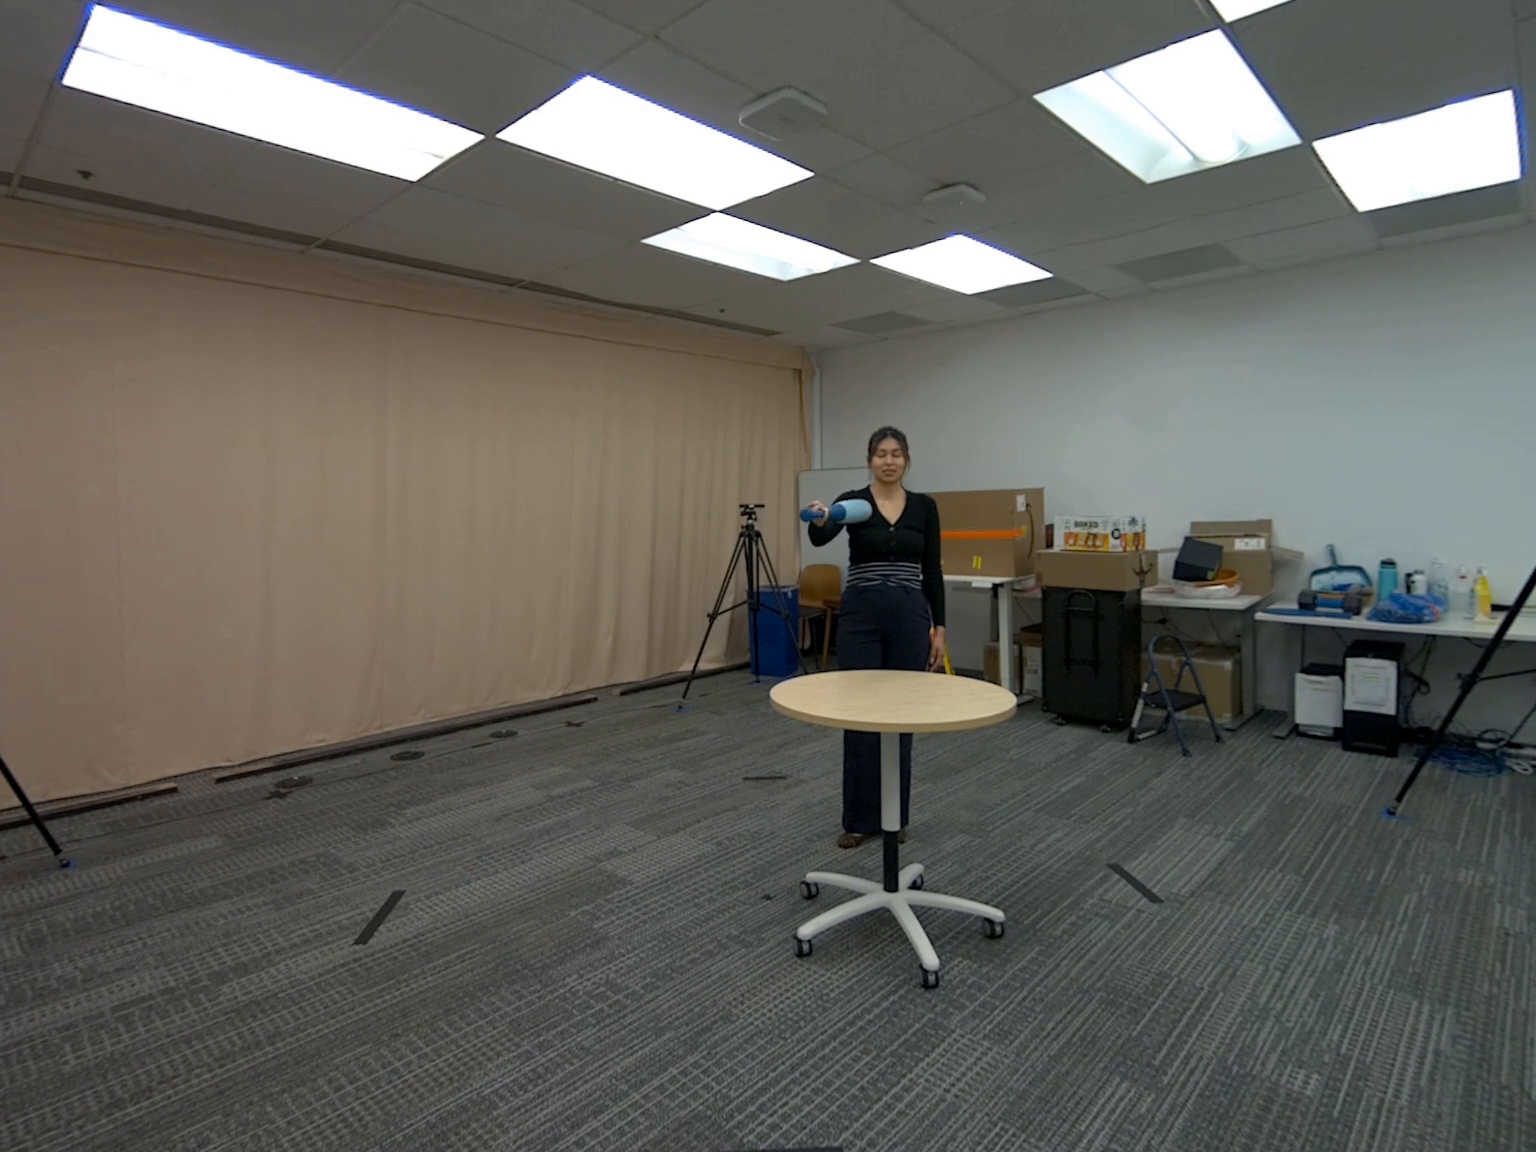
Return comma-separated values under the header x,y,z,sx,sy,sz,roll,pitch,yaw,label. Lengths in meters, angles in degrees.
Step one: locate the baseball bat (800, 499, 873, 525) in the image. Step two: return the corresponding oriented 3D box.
x,y,z,sx,sy,sz,roll,pitch,yaw,label
0.254,-0.231,3.086,0.091,0.089,0.529,1,7,29,baseball bat
